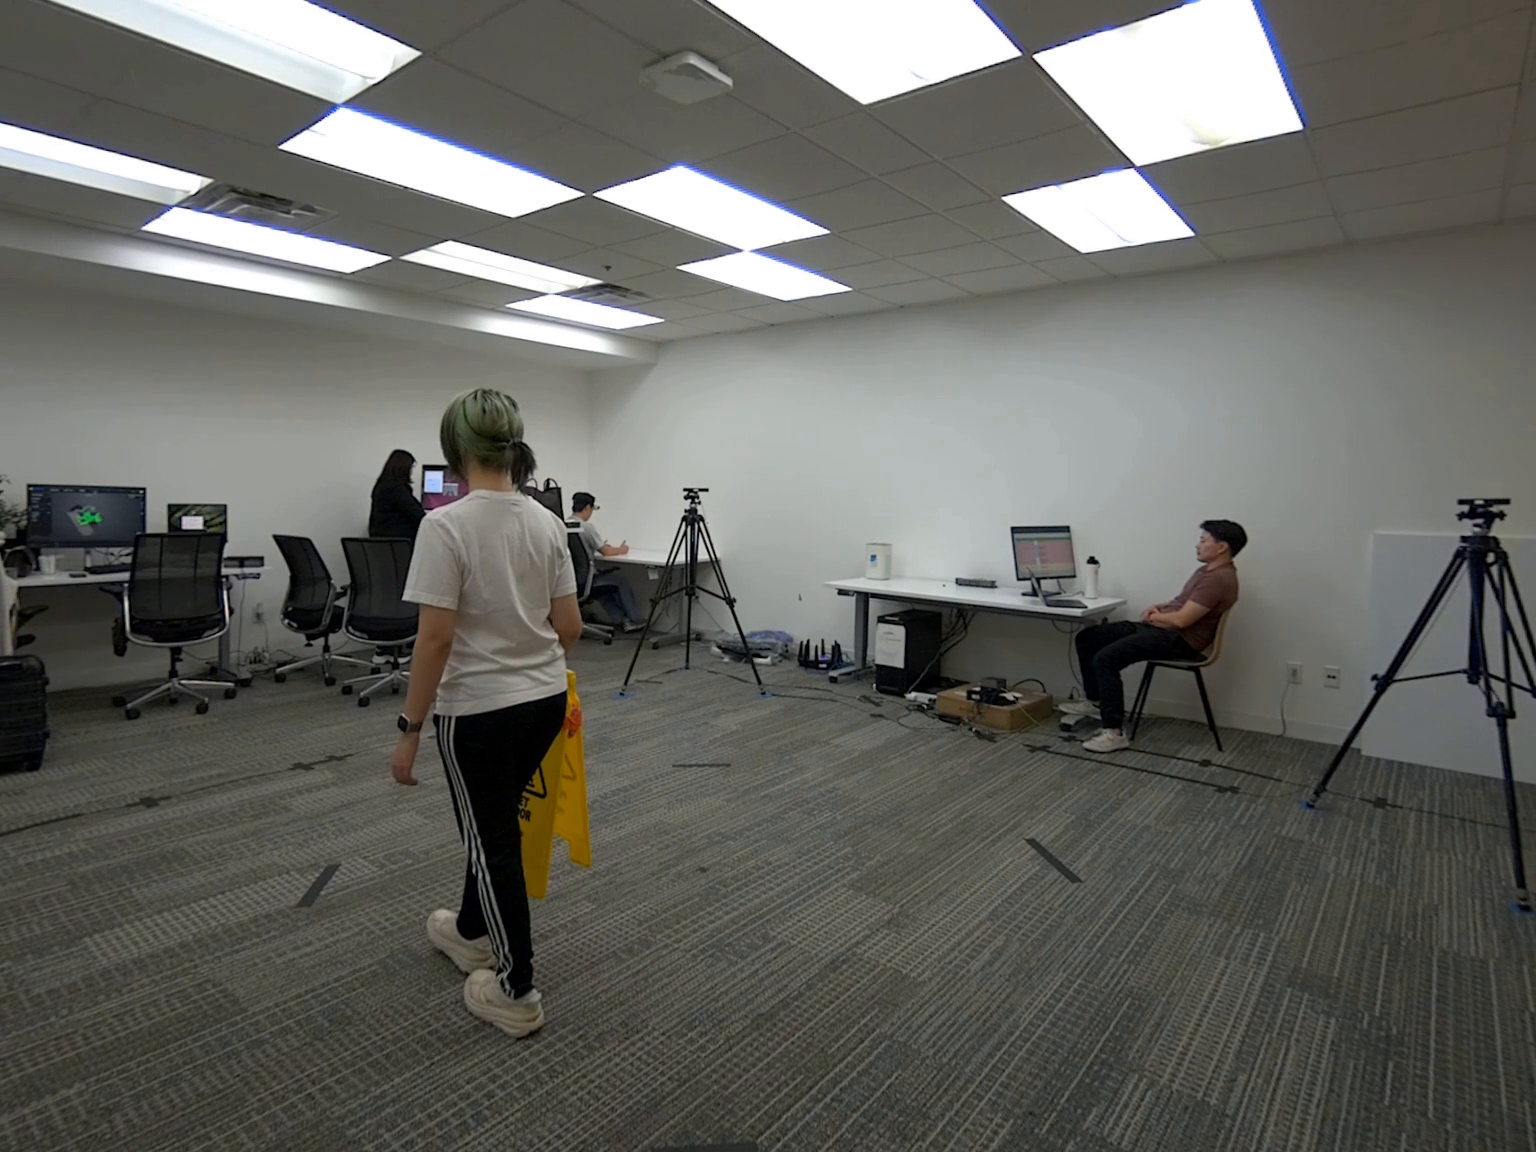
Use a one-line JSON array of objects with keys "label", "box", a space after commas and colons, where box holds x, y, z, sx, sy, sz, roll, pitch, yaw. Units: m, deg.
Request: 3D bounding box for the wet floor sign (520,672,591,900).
[{"label": "wet floor sign", "box": [-0.703, 0.583, 2.588, 0.290, 0.643, 0.283, 10, 6, 25]}]
